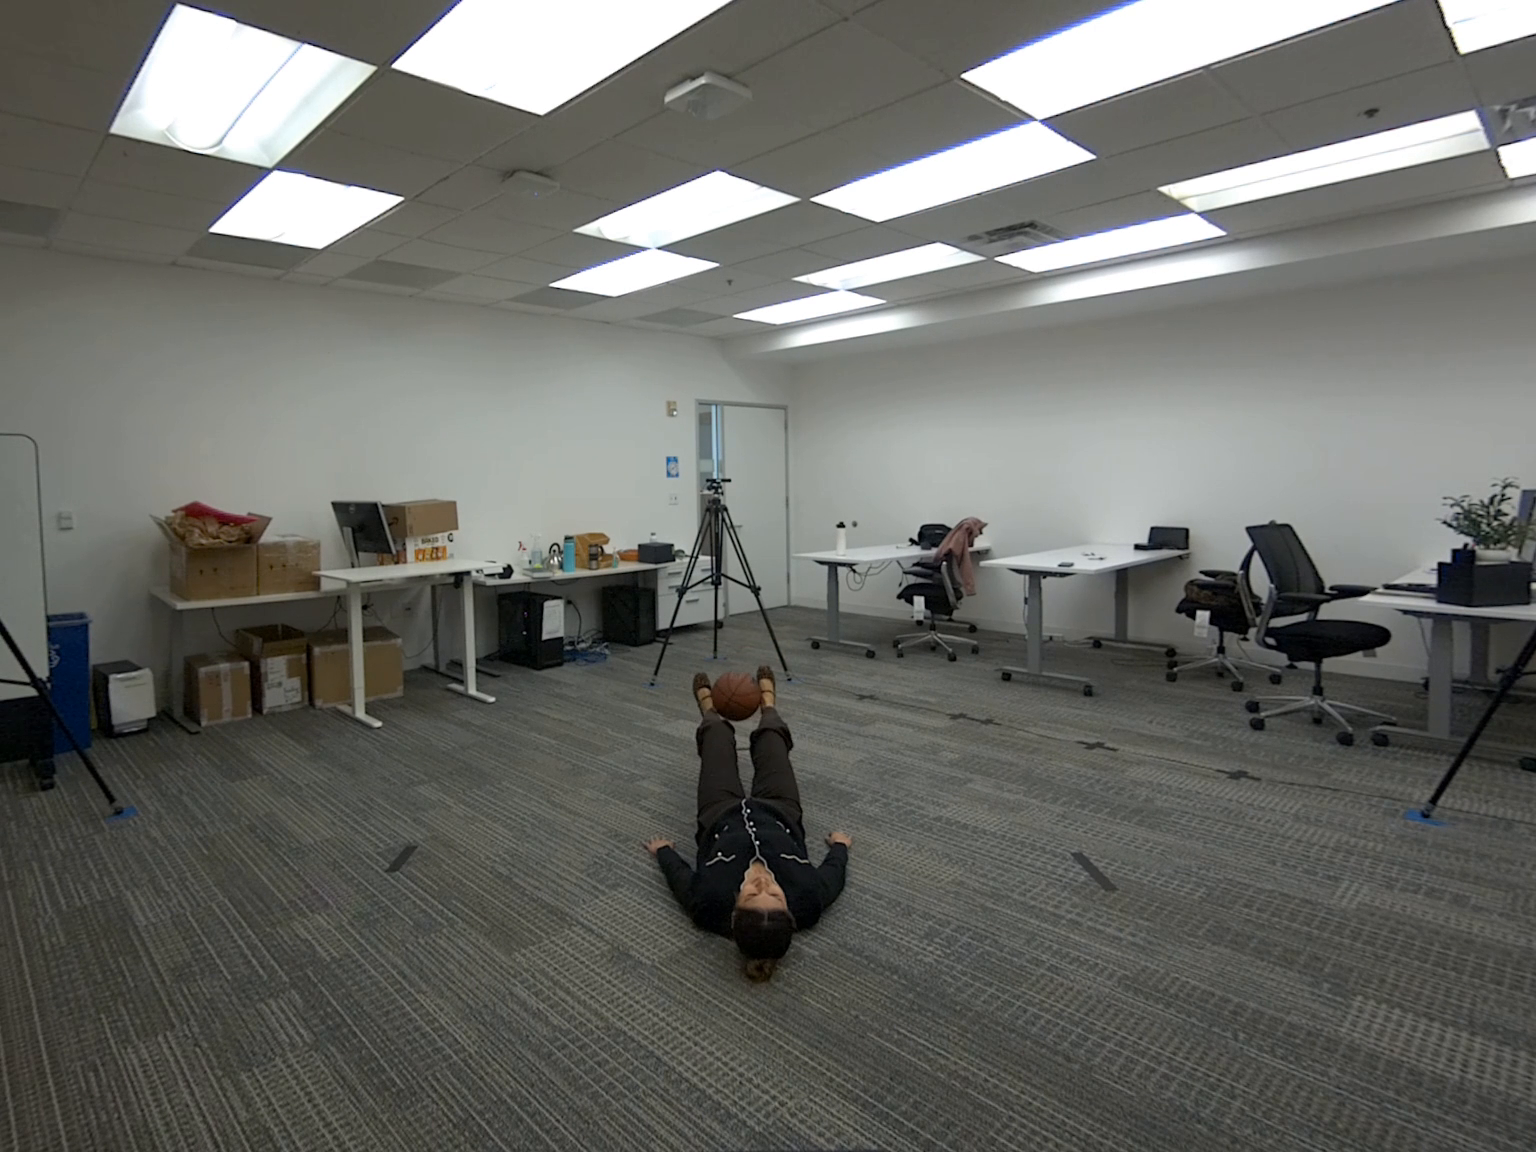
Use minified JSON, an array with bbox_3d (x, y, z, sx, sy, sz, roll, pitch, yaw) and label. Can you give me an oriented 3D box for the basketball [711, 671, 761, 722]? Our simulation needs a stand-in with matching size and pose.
[{"bbox_3d":[-0.138,0.558,3.985,0.236,0.235,0.237,-4,4,-1],"label":"basketball"}]
